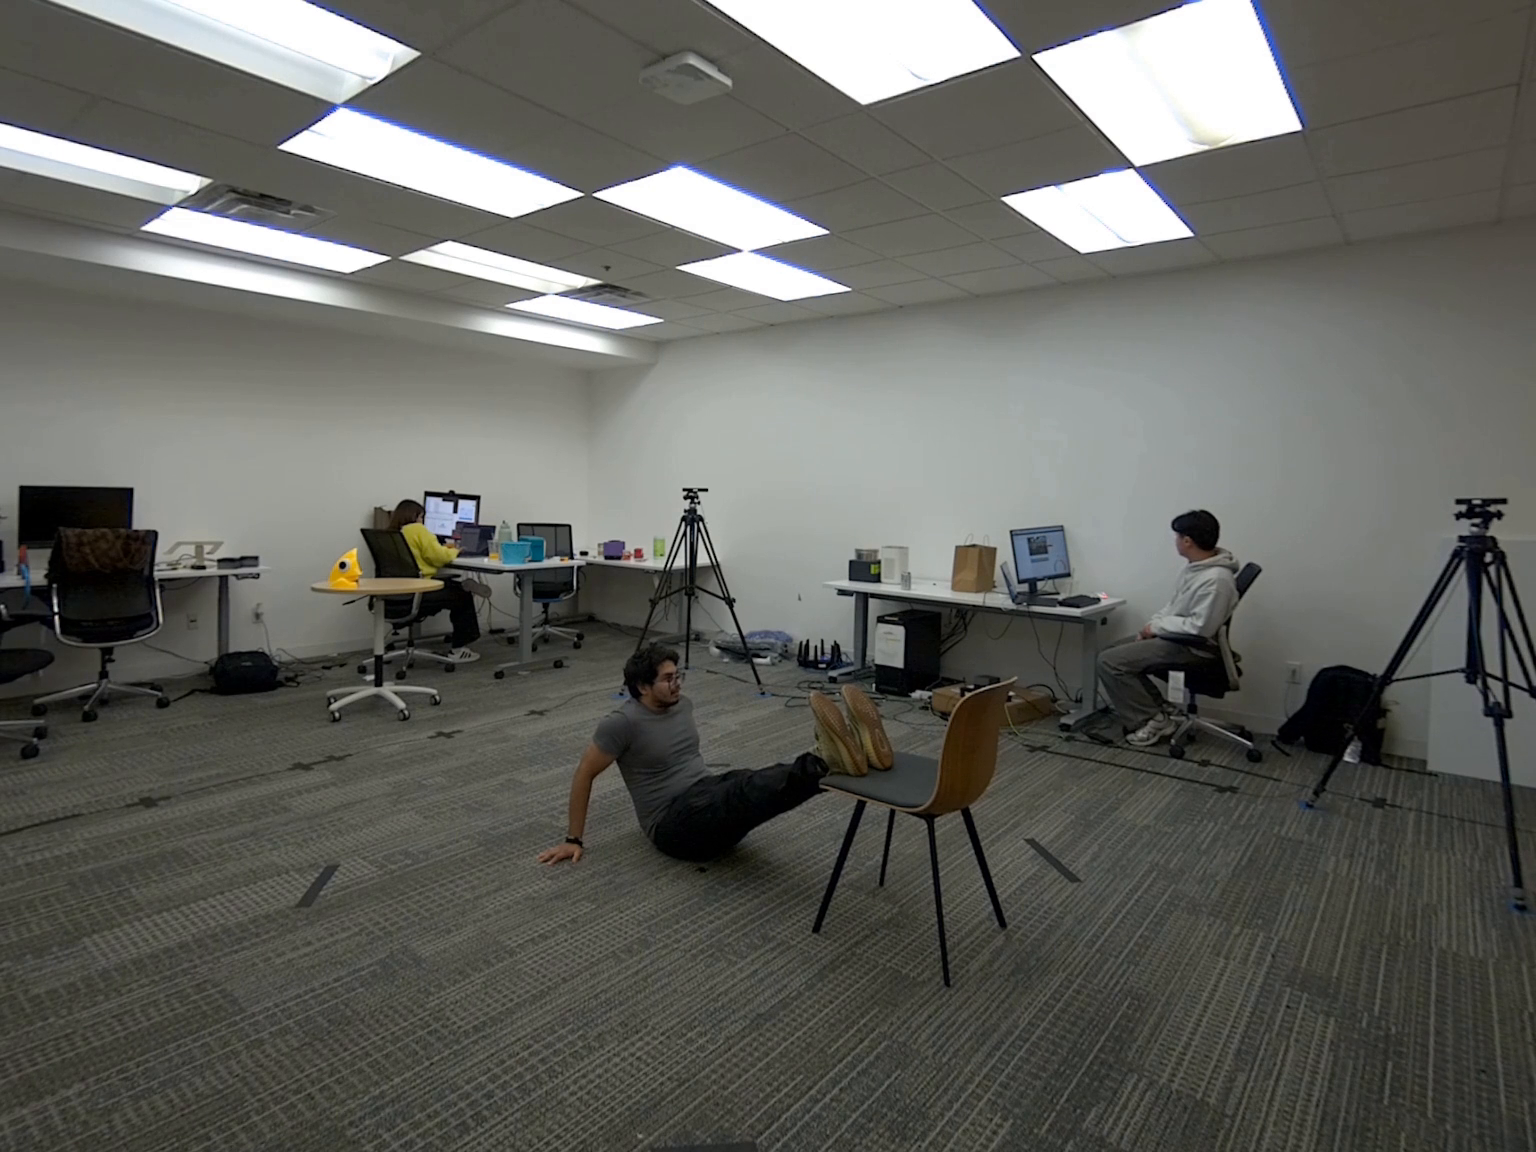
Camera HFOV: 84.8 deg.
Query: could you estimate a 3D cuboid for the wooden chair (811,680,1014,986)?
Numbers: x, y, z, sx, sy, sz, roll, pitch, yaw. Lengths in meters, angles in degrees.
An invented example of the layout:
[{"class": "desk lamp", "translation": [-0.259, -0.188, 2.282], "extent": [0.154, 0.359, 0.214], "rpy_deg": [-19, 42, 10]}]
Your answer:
[{"class": "wooden chair", "translation": [0.455, 0.701, 2.690], "extent": [0.541, 0.873, 0.464], "rpy_deg": [9, 7, 37]}]
